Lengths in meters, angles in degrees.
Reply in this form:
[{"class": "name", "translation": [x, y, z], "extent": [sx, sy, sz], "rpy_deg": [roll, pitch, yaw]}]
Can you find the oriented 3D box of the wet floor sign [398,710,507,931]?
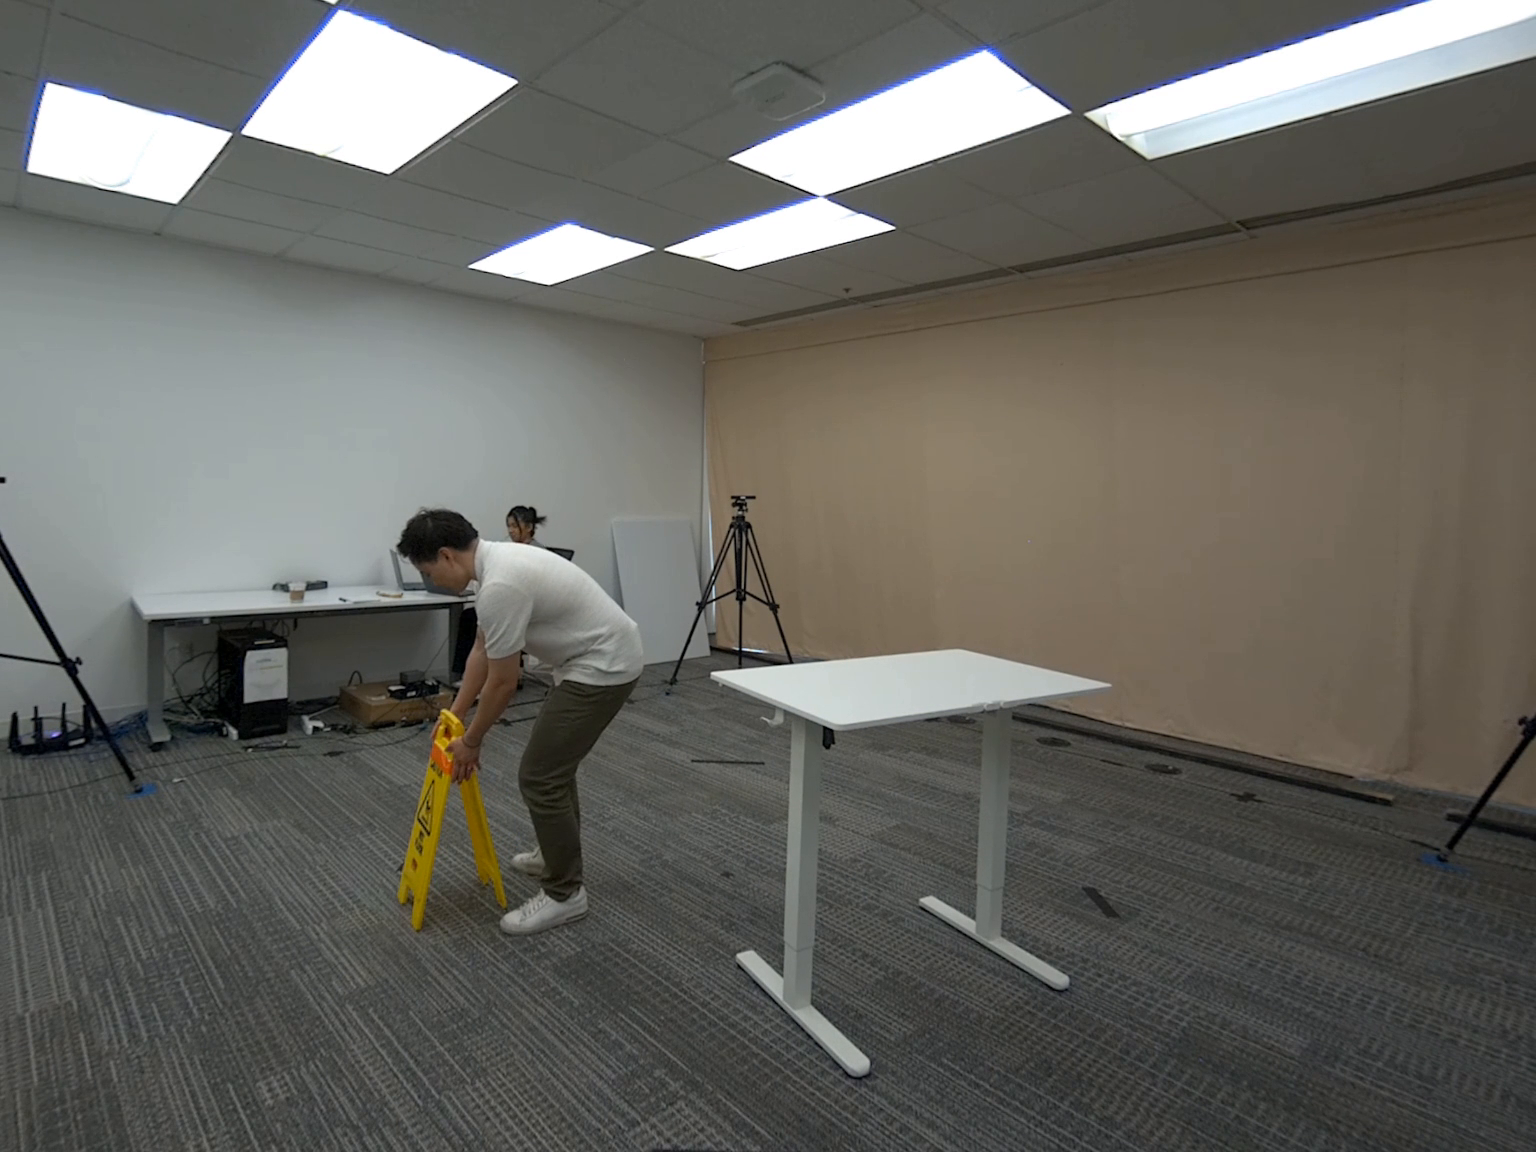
[{"class": "wet floor sign", "translation": [-1.069, 0.787, 2.824], "extent": [0.283, 0.644, 0.289], "rpy_deg": [-2, 5, -35]}]
